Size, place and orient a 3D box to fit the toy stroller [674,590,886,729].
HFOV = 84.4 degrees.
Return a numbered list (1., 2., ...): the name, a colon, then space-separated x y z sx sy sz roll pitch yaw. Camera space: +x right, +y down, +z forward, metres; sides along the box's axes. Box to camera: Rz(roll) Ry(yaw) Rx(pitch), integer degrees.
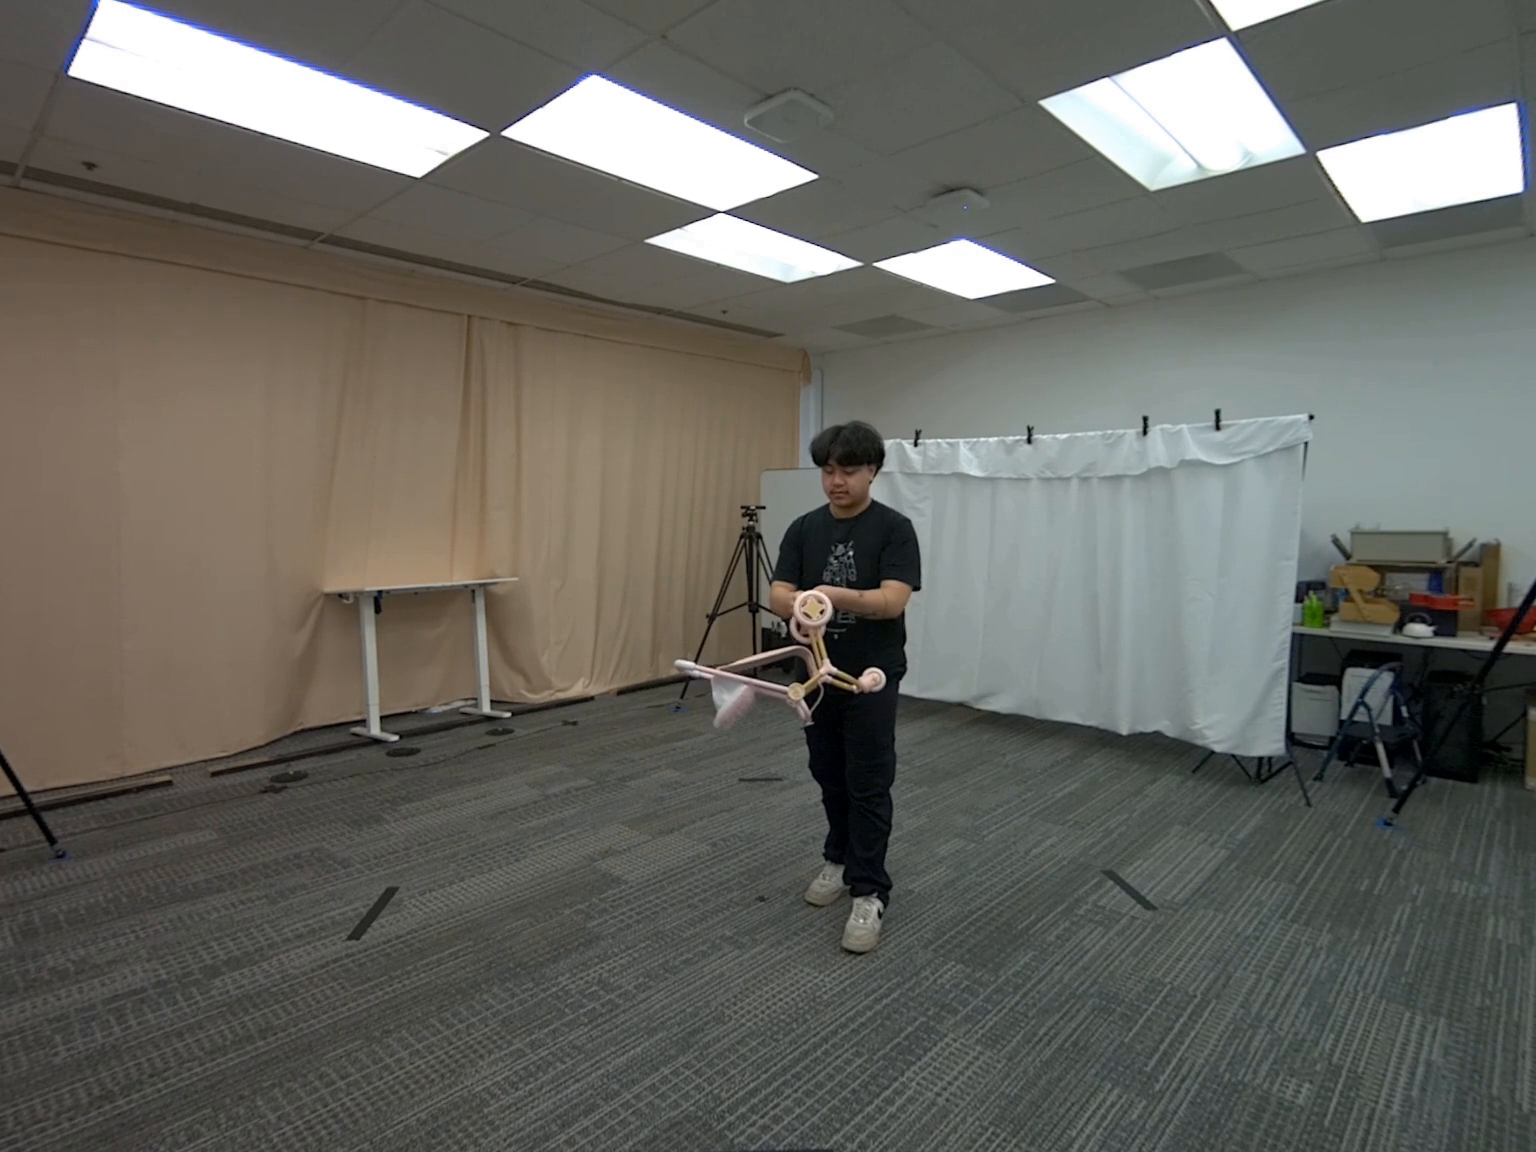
1. toy stroller: 0.042 0.294 2.473 0.533 0.345 0.279 -26 -10 -6
